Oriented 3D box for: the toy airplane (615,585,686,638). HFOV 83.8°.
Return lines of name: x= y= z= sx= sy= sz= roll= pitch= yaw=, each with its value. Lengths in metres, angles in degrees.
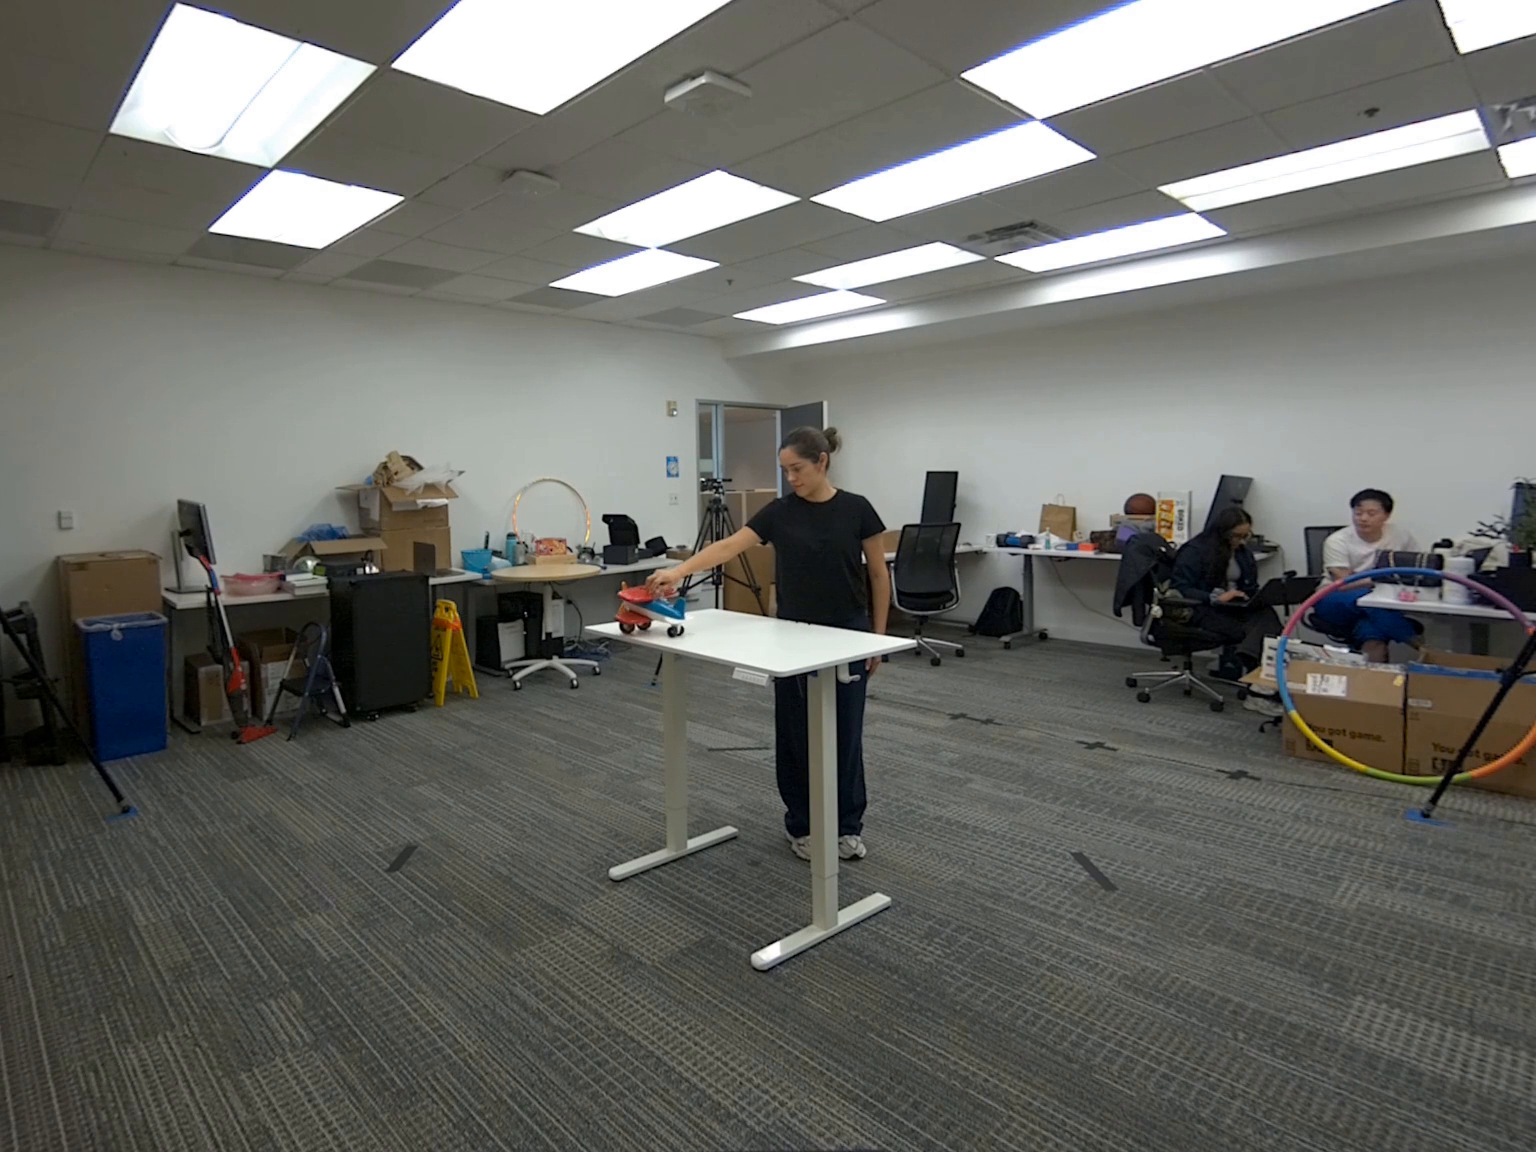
toy airplane: x=-0.373 y=0.113 z=2.906 sx=0.261 sy=0.156 sz=0.250 roll=-1 pitch=4 yaw=5
